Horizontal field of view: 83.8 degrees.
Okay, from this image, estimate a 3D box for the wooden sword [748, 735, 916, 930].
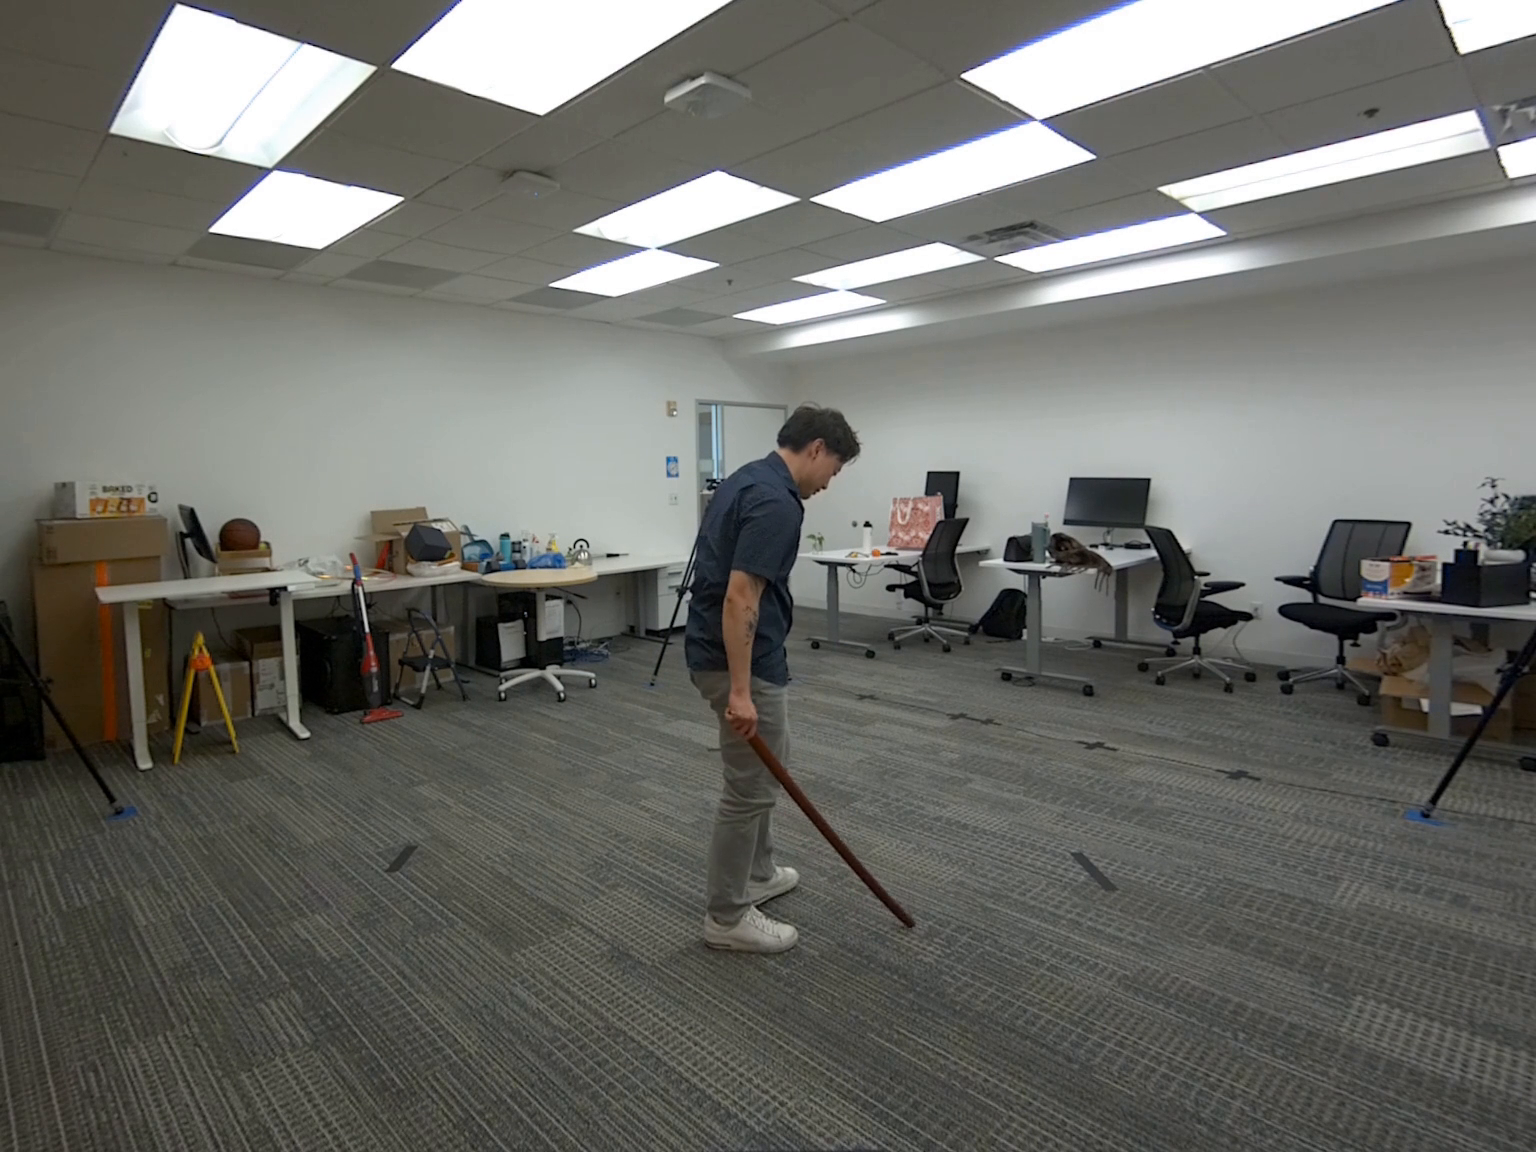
[{"bbox_3d":[0.183,0.728,2.457,0.024,0.994,0.052,-14,33,38],"label":"wooden sword"}]
